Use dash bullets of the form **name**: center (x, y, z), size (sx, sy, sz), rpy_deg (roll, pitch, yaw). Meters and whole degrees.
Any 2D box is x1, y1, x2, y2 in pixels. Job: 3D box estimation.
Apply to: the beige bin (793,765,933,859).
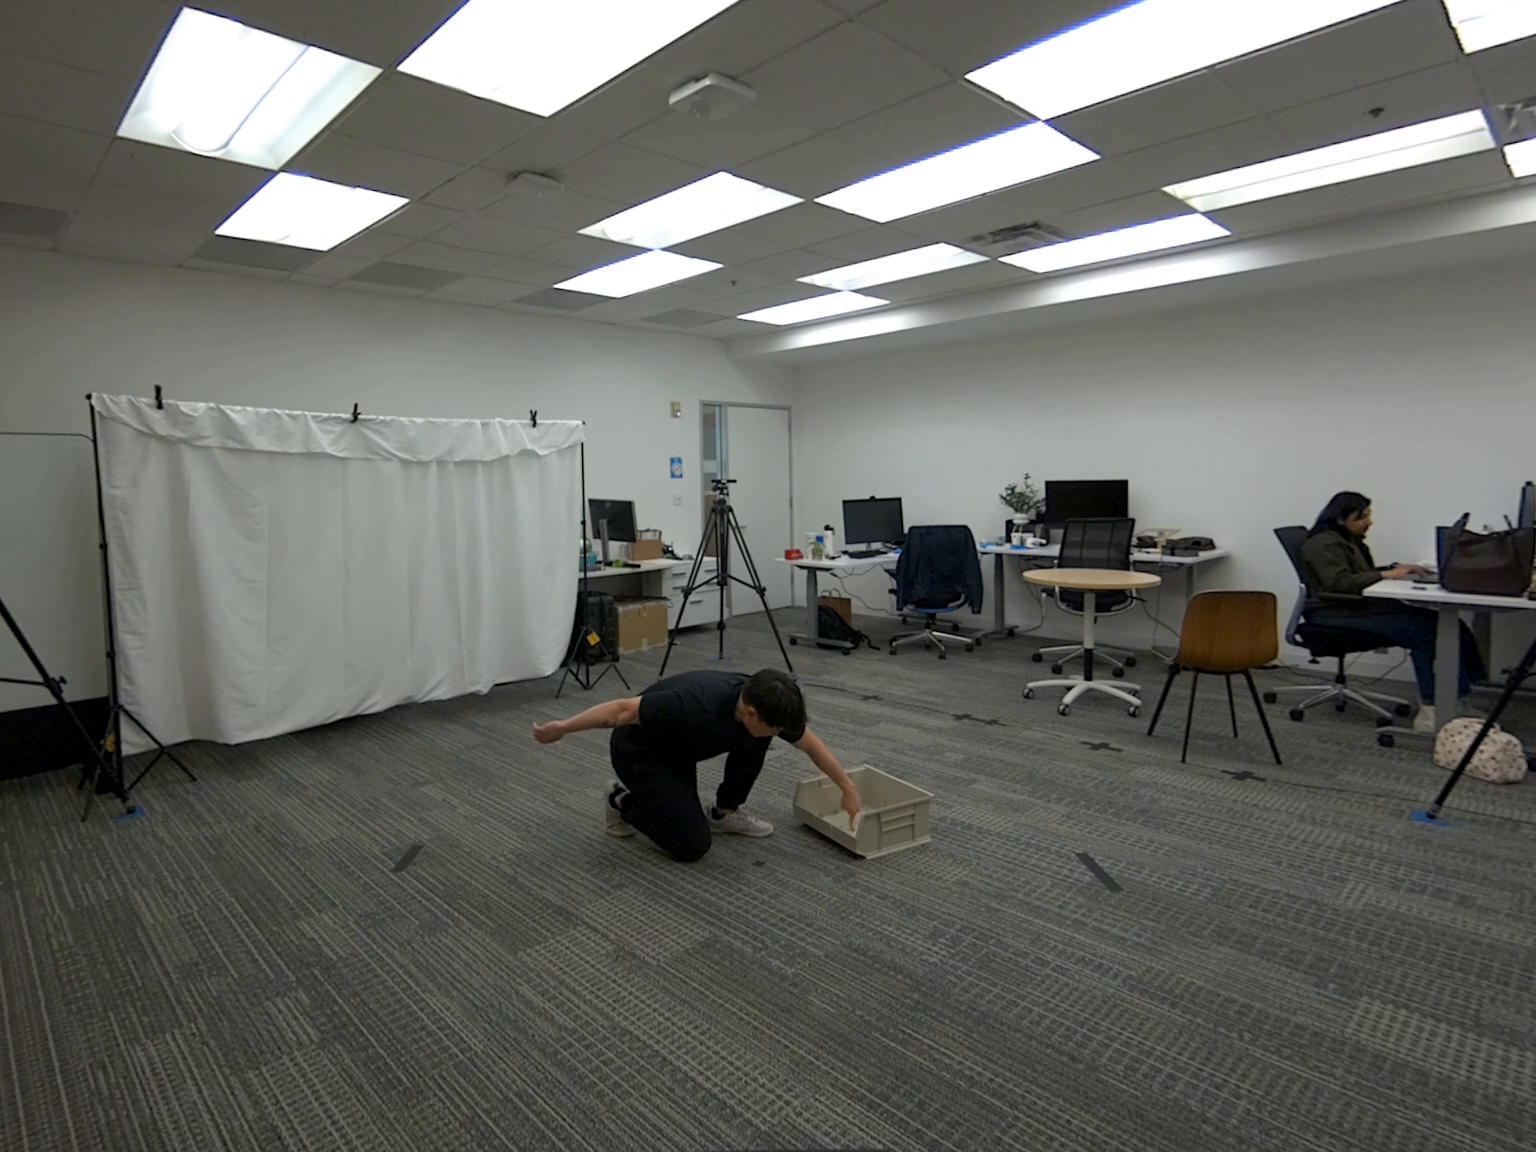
- **beige bin**: center (0.364, 0.916, 3.356), size (0.368, 0.188, 0.434), rpy_deg (-4, 6, -30)
